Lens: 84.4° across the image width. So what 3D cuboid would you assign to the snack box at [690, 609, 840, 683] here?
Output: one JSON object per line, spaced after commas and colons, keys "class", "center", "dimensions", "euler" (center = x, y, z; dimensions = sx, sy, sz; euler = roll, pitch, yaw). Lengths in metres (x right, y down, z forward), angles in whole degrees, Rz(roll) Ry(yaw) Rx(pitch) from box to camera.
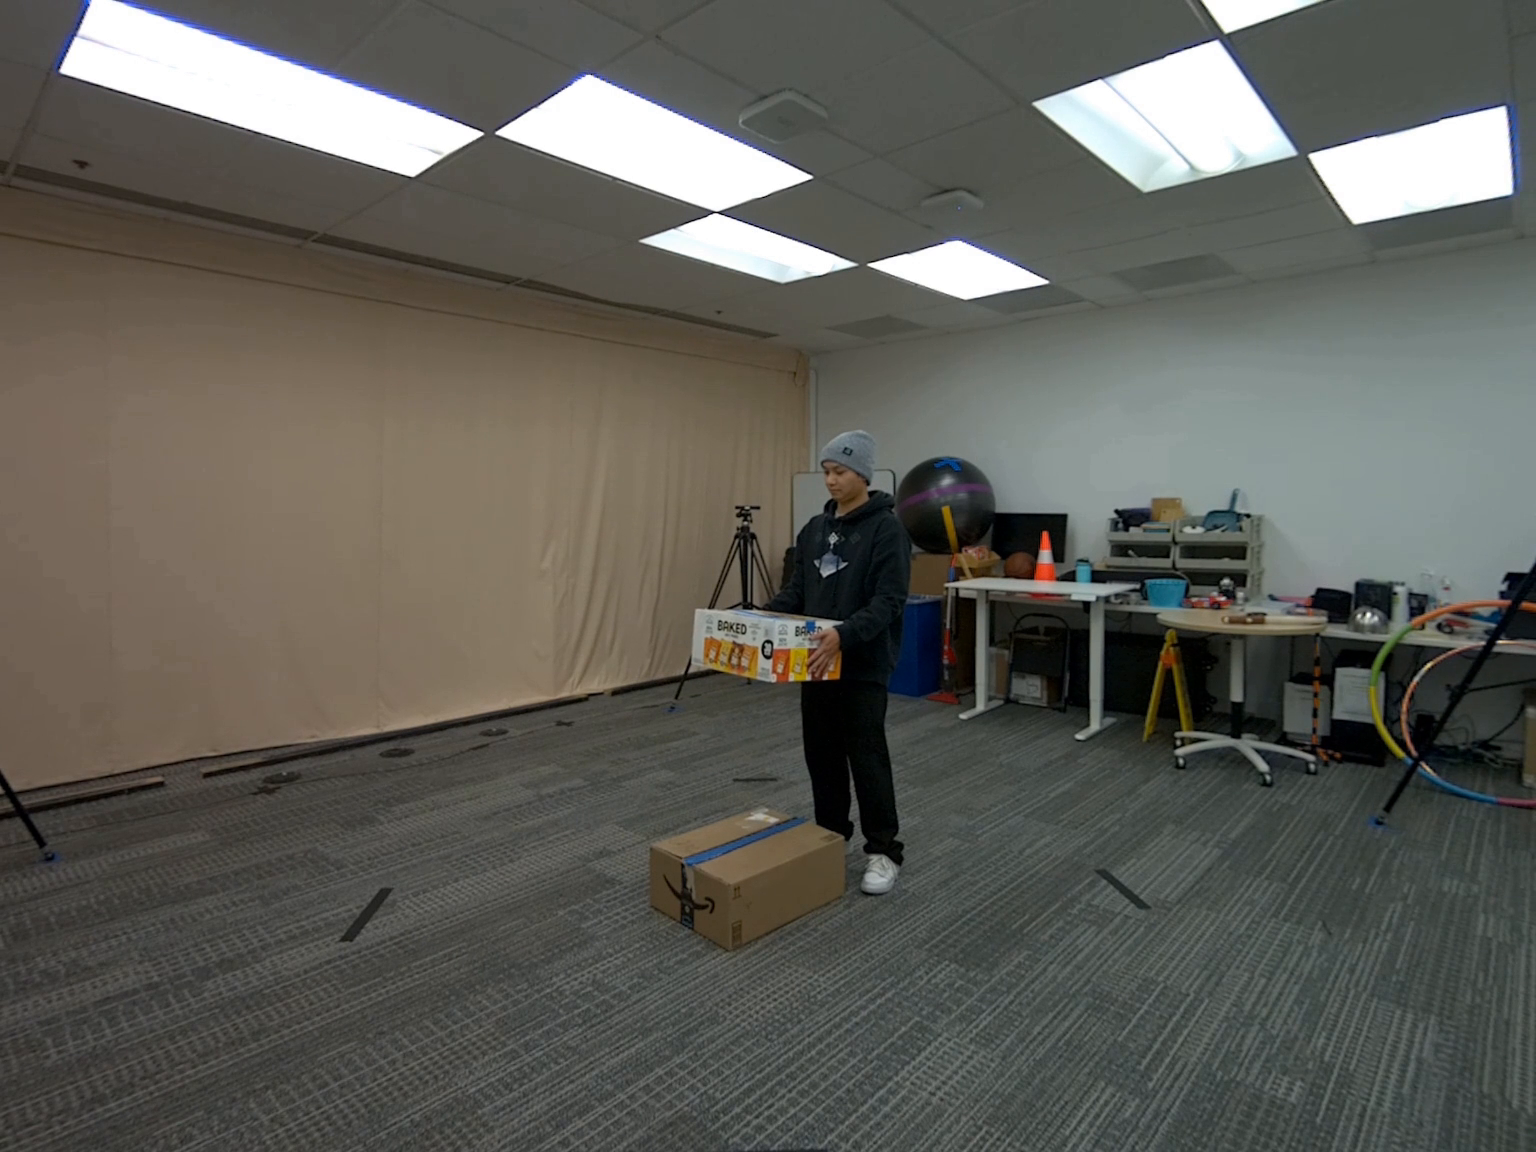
{"class": "snack box", "center": [-0.005, 0.240, 2.975], "dimensions": [0.329, 0.206, 0.419], "euler": [5, 0, -43]}
